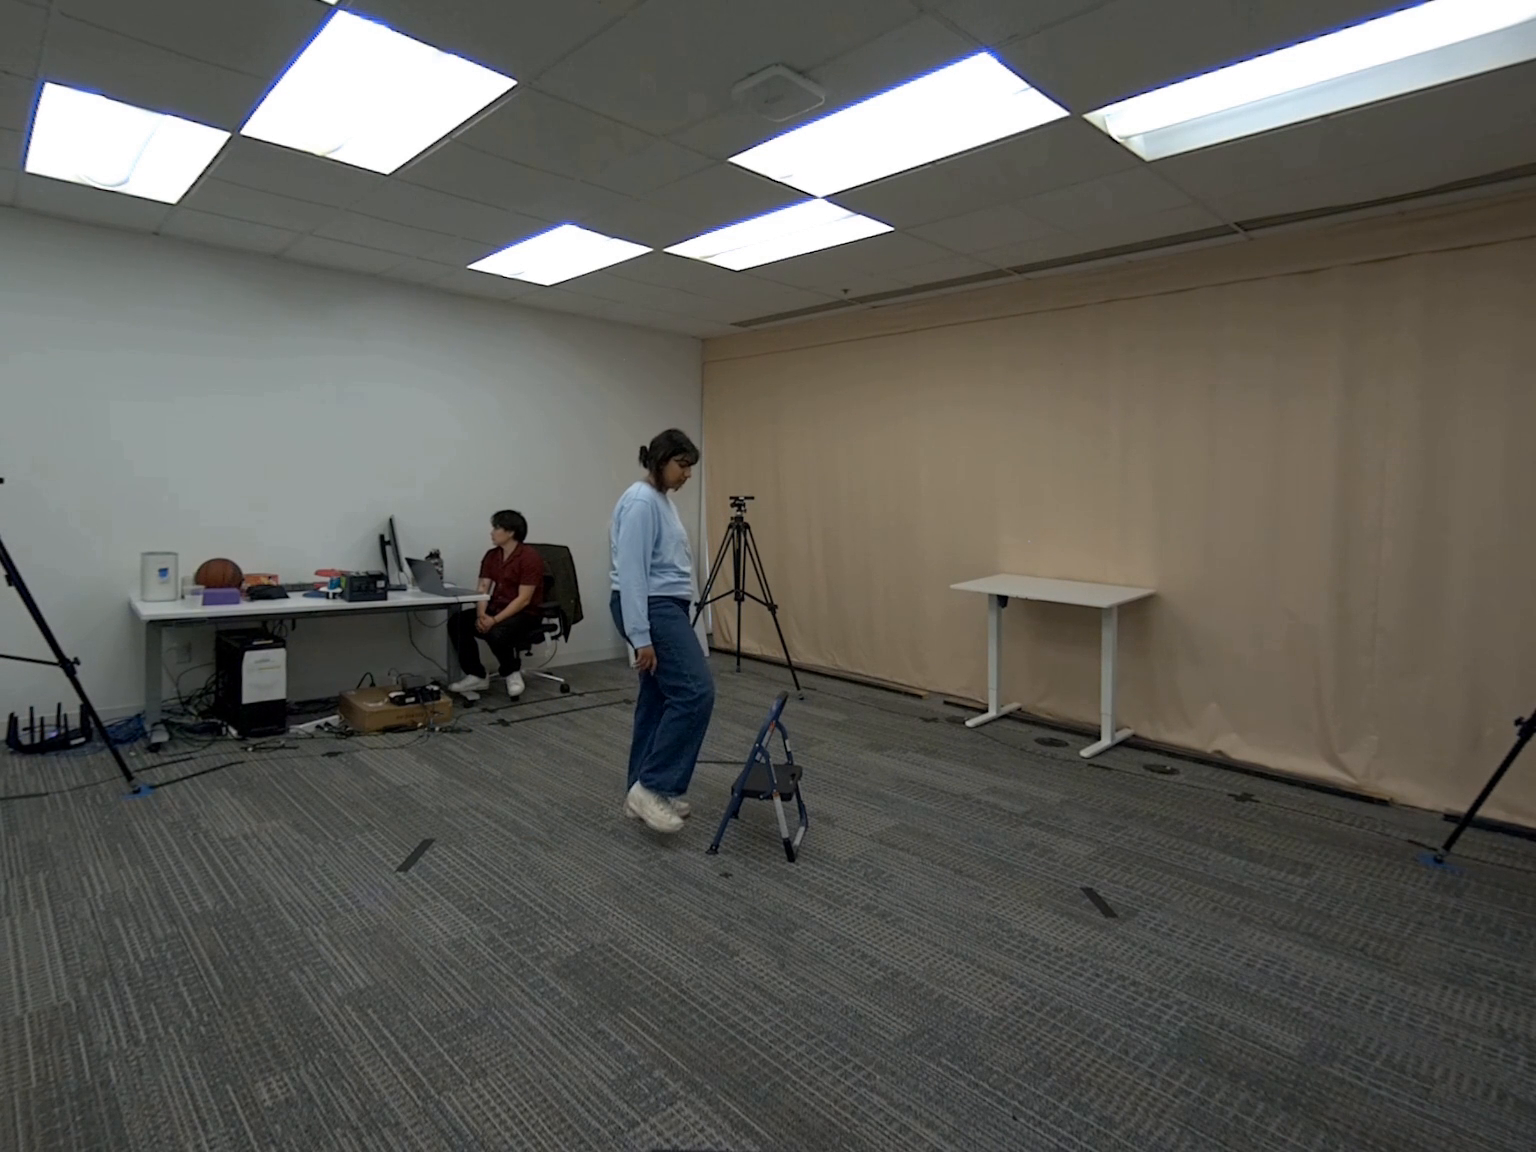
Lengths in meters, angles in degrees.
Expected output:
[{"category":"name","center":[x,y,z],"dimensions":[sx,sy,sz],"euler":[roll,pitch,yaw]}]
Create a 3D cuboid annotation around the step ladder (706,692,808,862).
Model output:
[{"category":"step ladder","center":[-0.034,0.779,3.441],"dimensions":[0.352,0.605,0.427],"euler":[0,3,11]}]
